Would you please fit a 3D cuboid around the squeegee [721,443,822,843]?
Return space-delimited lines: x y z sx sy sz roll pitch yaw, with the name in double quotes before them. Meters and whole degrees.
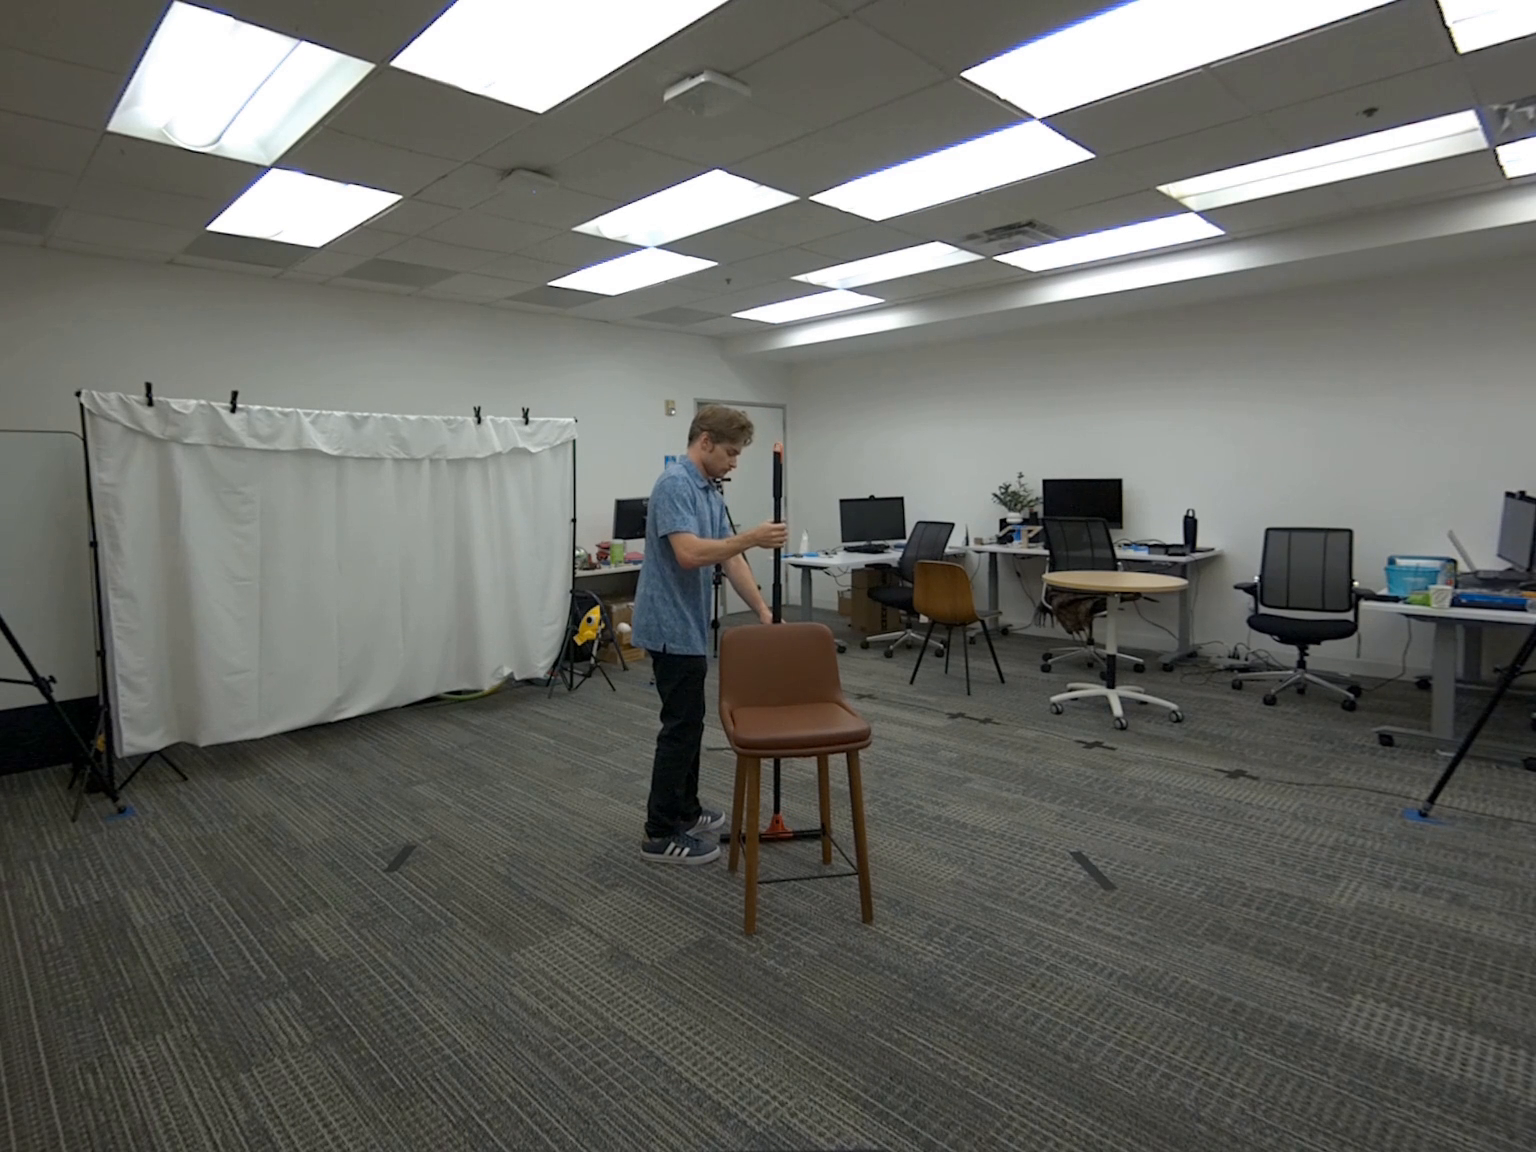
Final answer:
"squeegee" 0.015 0.276 3.124 0.436 1.521 0.054 -1 12 -4
